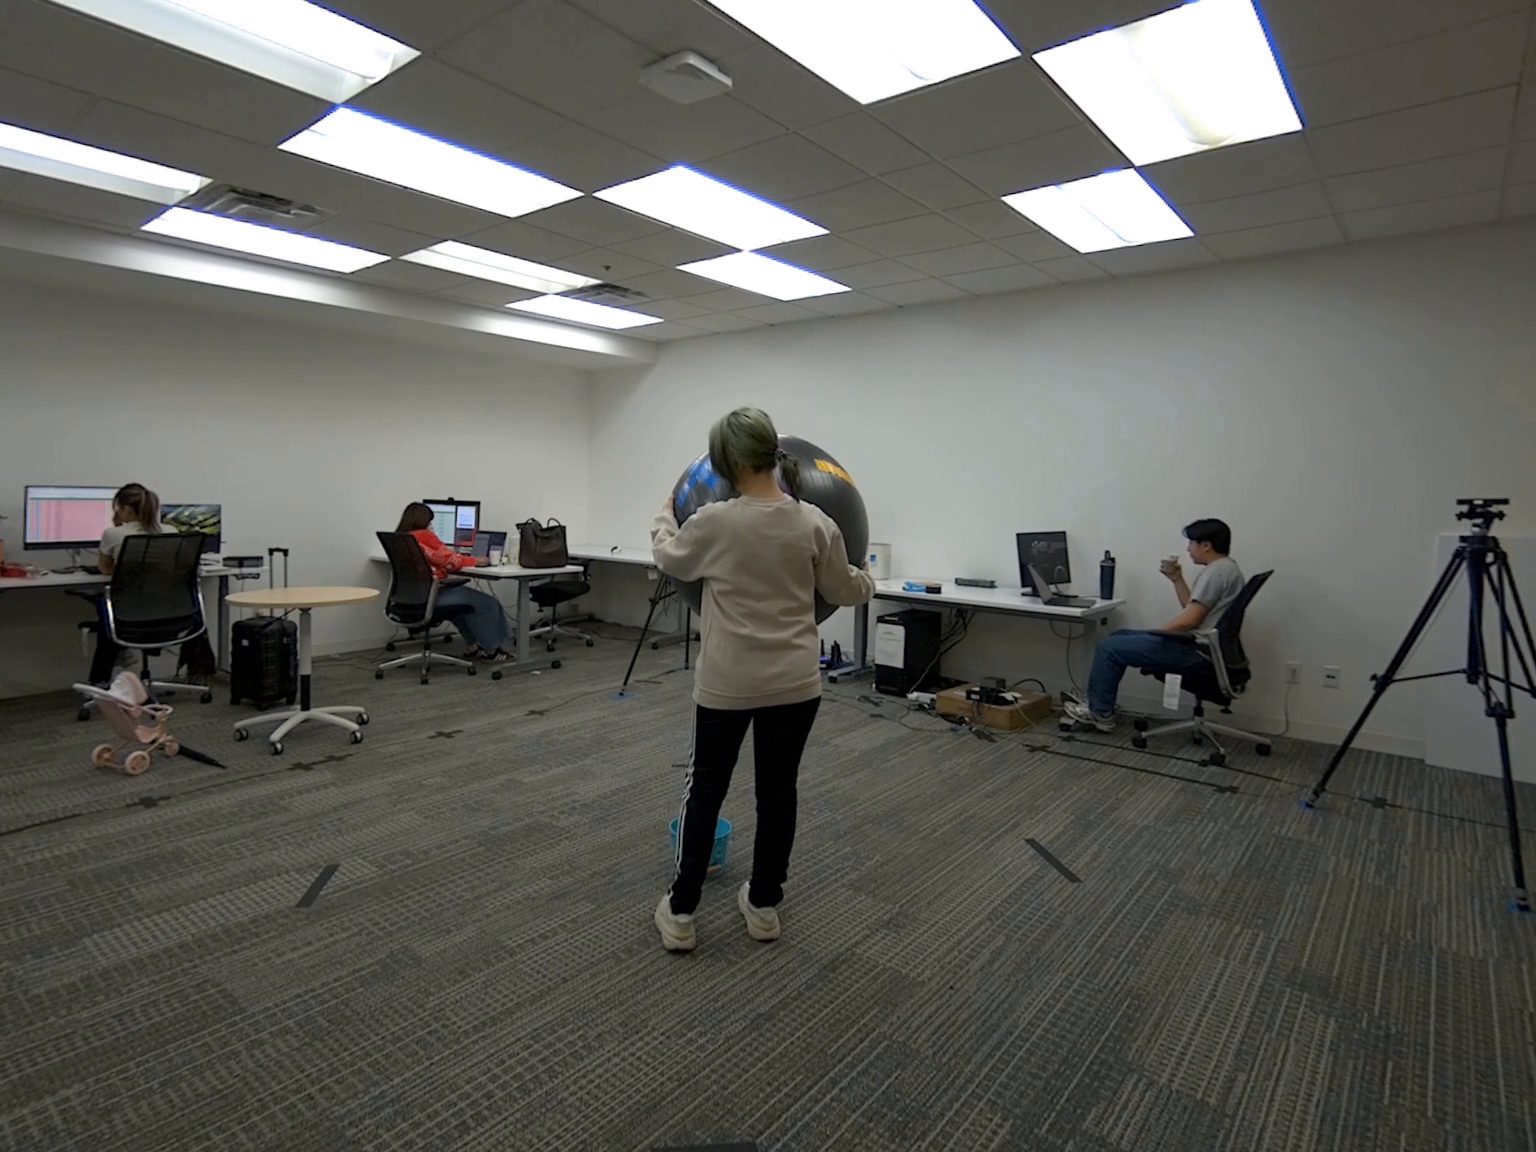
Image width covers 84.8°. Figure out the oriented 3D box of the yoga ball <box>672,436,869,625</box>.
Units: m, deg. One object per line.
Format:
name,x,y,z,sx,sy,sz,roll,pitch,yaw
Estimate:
yoga ball,-0.022,-0.137,3.135,0.757,0.756,0.762,1,4,-2
